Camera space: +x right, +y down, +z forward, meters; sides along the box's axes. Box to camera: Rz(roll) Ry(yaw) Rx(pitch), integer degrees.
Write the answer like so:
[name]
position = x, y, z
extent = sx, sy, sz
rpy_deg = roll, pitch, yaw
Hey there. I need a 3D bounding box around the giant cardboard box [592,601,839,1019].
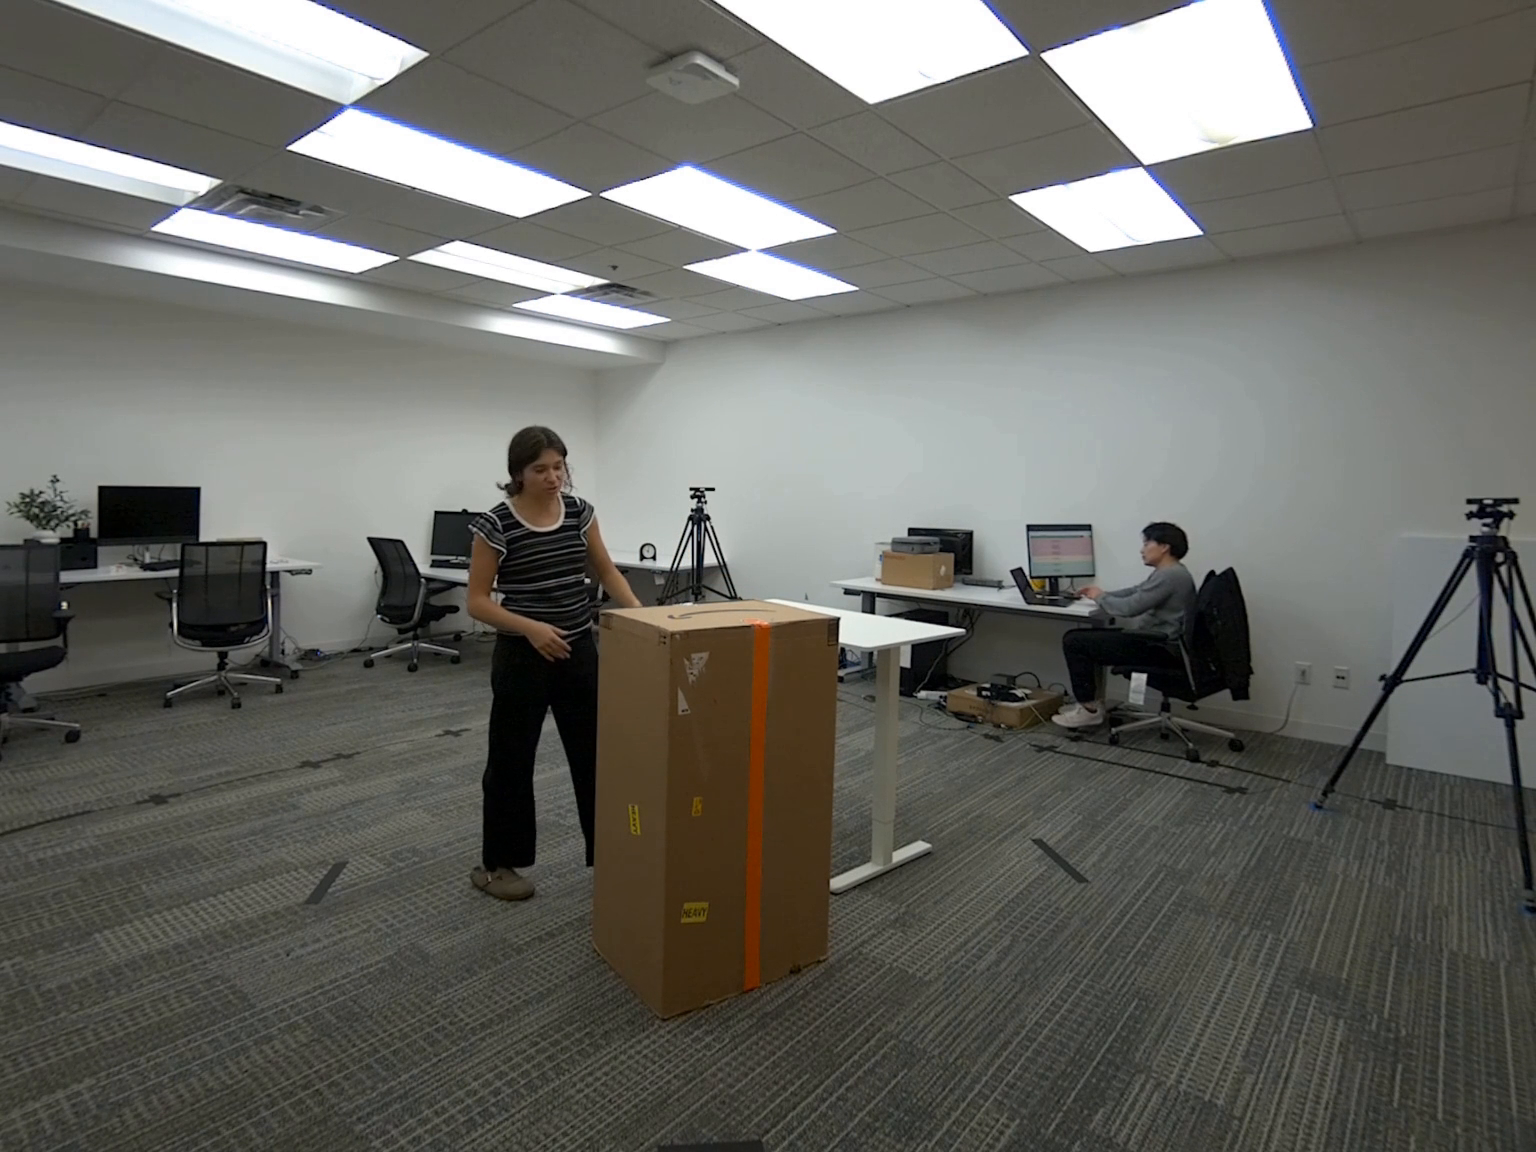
[giant cardboard box]
position = -0.163, 0.615, 2.514
extent = 0.561, 1.023, 0.440
rpy_deg = -1, 4, -35
